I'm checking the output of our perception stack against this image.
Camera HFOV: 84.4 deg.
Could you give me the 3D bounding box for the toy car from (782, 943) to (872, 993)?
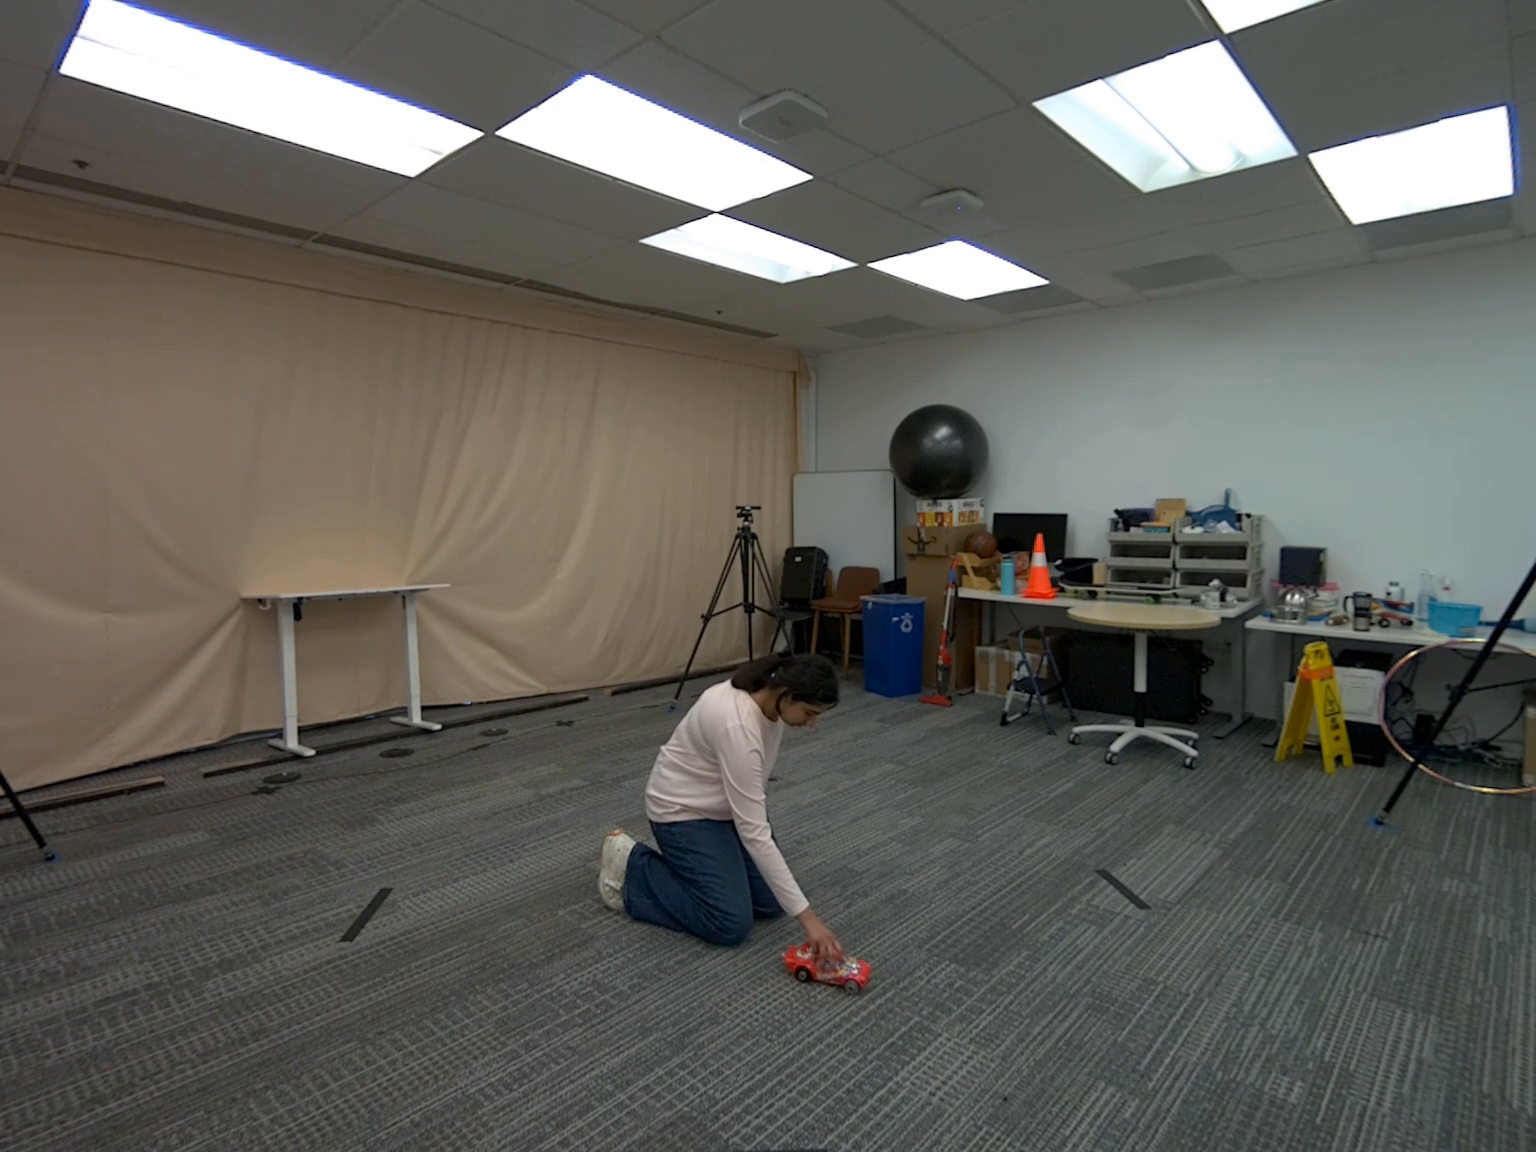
[{"bbox_3d":[0.175,1.158,2.480,0.261,0.083,0.127,13,8,21],"label":"toy car"}]
